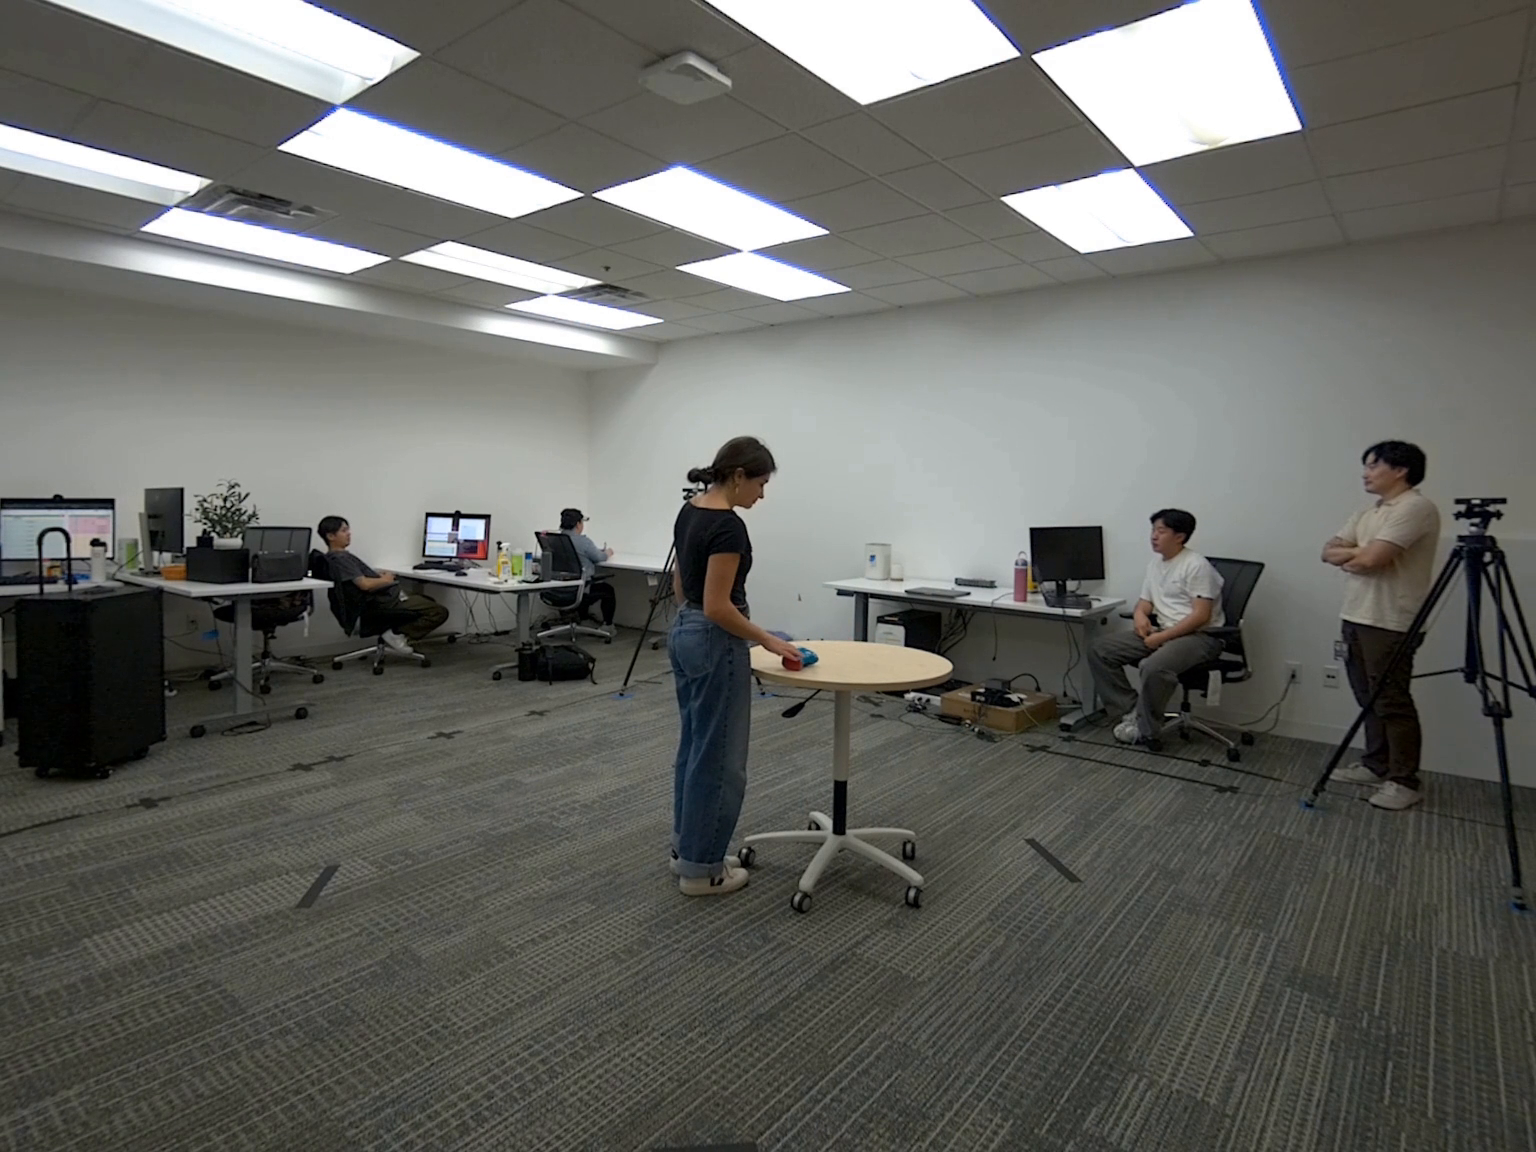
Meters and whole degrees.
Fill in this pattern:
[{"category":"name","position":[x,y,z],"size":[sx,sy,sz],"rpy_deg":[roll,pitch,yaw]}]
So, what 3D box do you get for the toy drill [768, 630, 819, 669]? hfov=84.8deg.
[{"category":"toy drill","position":[0.090,0.280,2.947],"size":[0.175,0.060,0.142],"rpy_deg":[13,12,29]}]
